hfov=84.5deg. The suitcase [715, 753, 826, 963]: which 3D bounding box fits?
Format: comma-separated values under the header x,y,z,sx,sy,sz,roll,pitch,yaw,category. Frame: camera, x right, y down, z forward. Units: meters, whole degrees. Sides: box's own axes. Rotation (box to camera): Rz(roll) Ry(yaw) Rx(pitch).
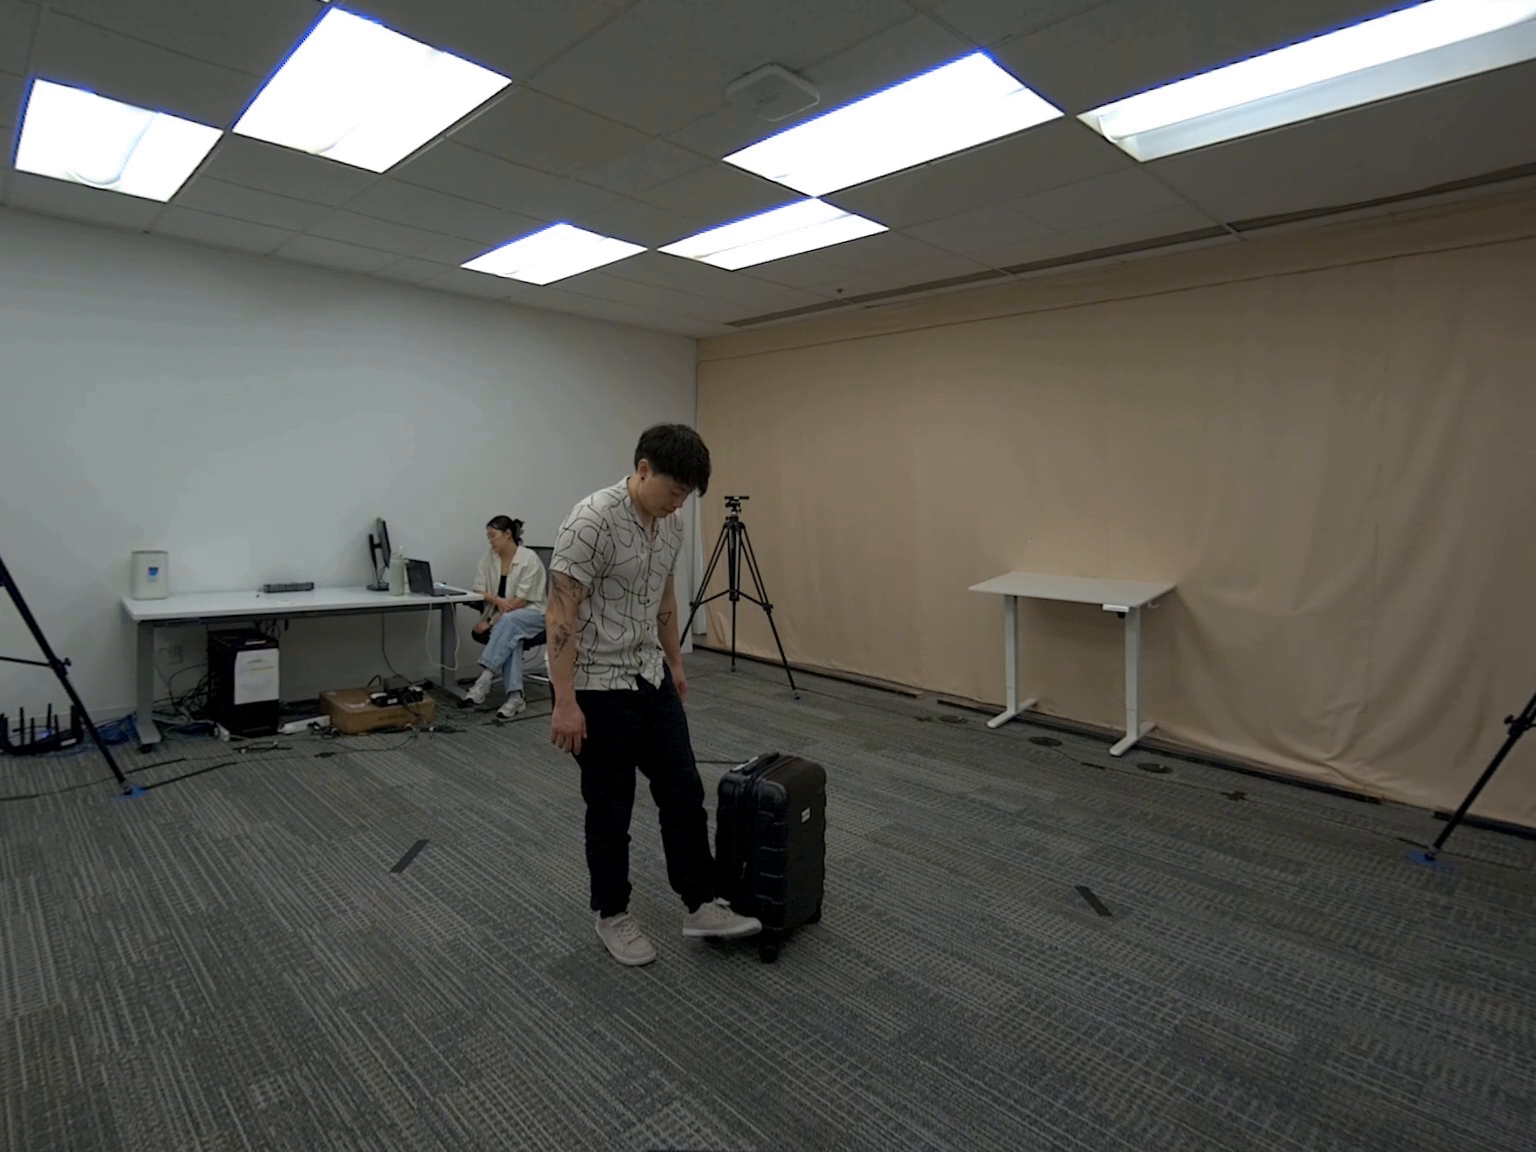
x,y,z,sx,sy,sz,roll,pitch,yaw,category
0.006,0.869,2.700,0.254,0.548,0.368,5,4,30,suitcase
